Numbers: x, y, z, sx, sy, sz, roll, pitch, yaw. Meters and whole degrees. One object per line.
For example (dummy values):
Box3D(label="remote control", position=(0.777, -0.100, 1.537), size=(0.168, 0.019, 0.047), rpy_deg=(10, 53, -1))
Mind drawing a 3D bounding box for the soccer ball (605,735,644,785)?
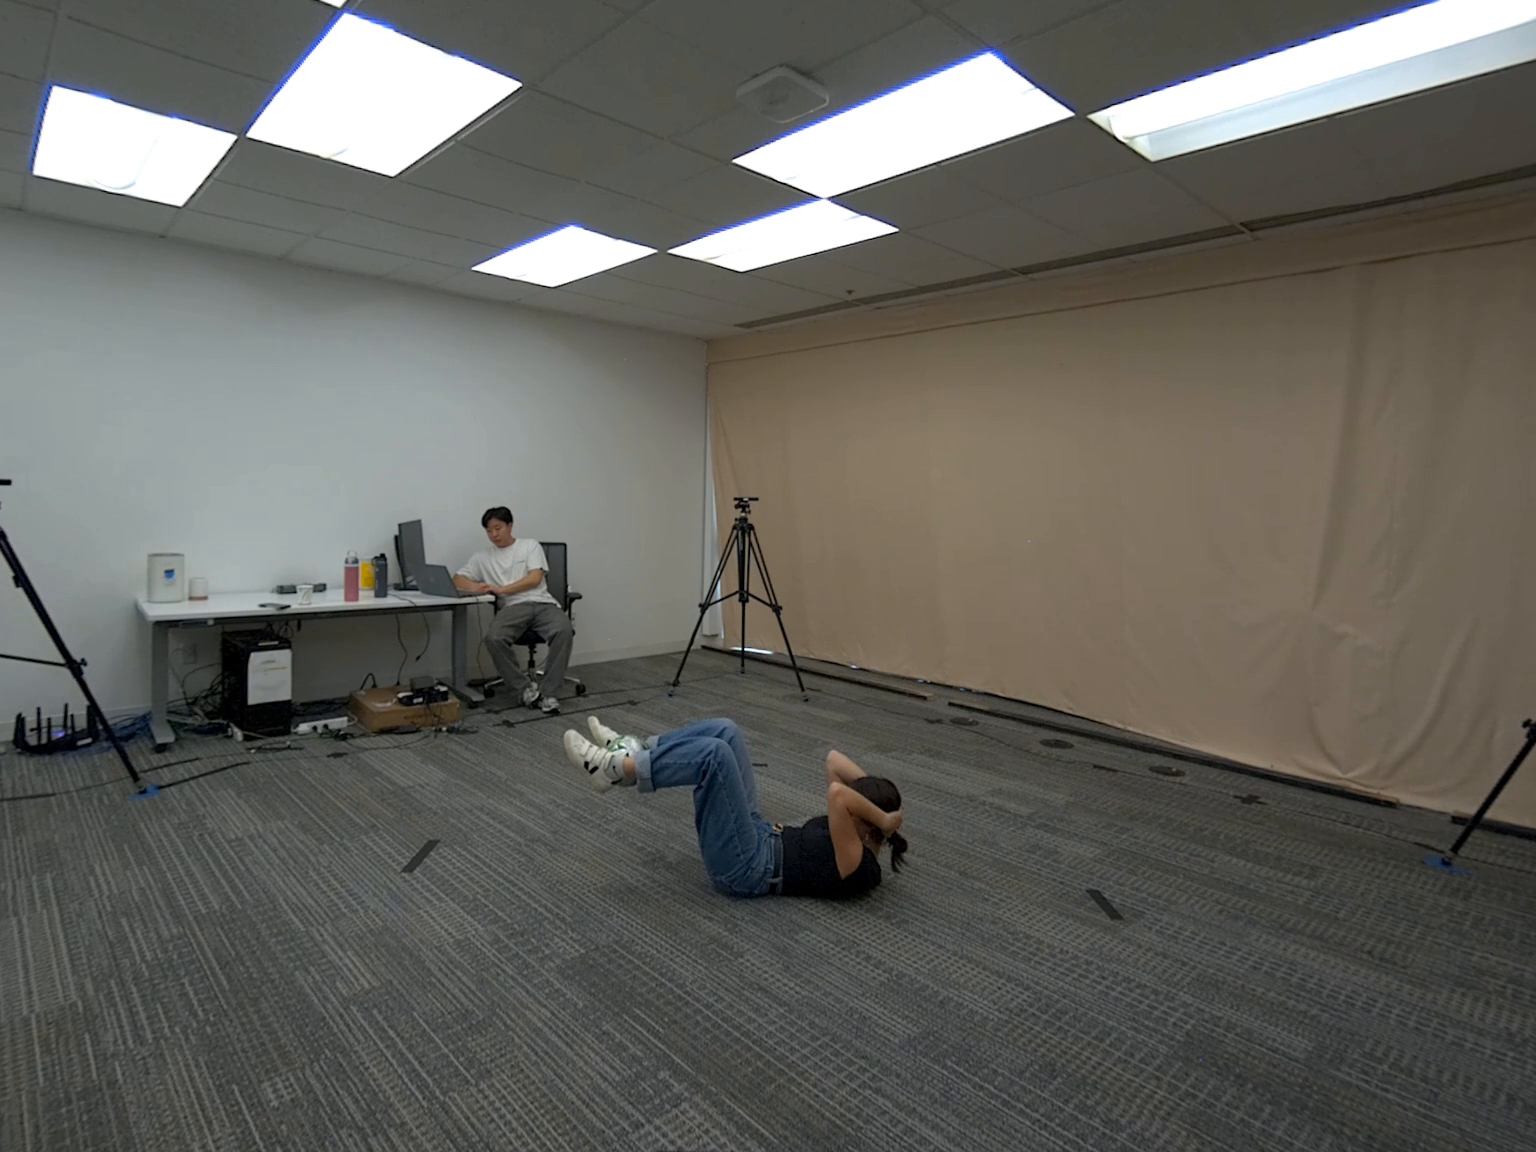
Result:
Box3D(label="soccer ball", position=(-0.534, 0.689, 3.098), size=(0.187, 0.186, 0.188), rpy_deg=(1, 7, -1))
